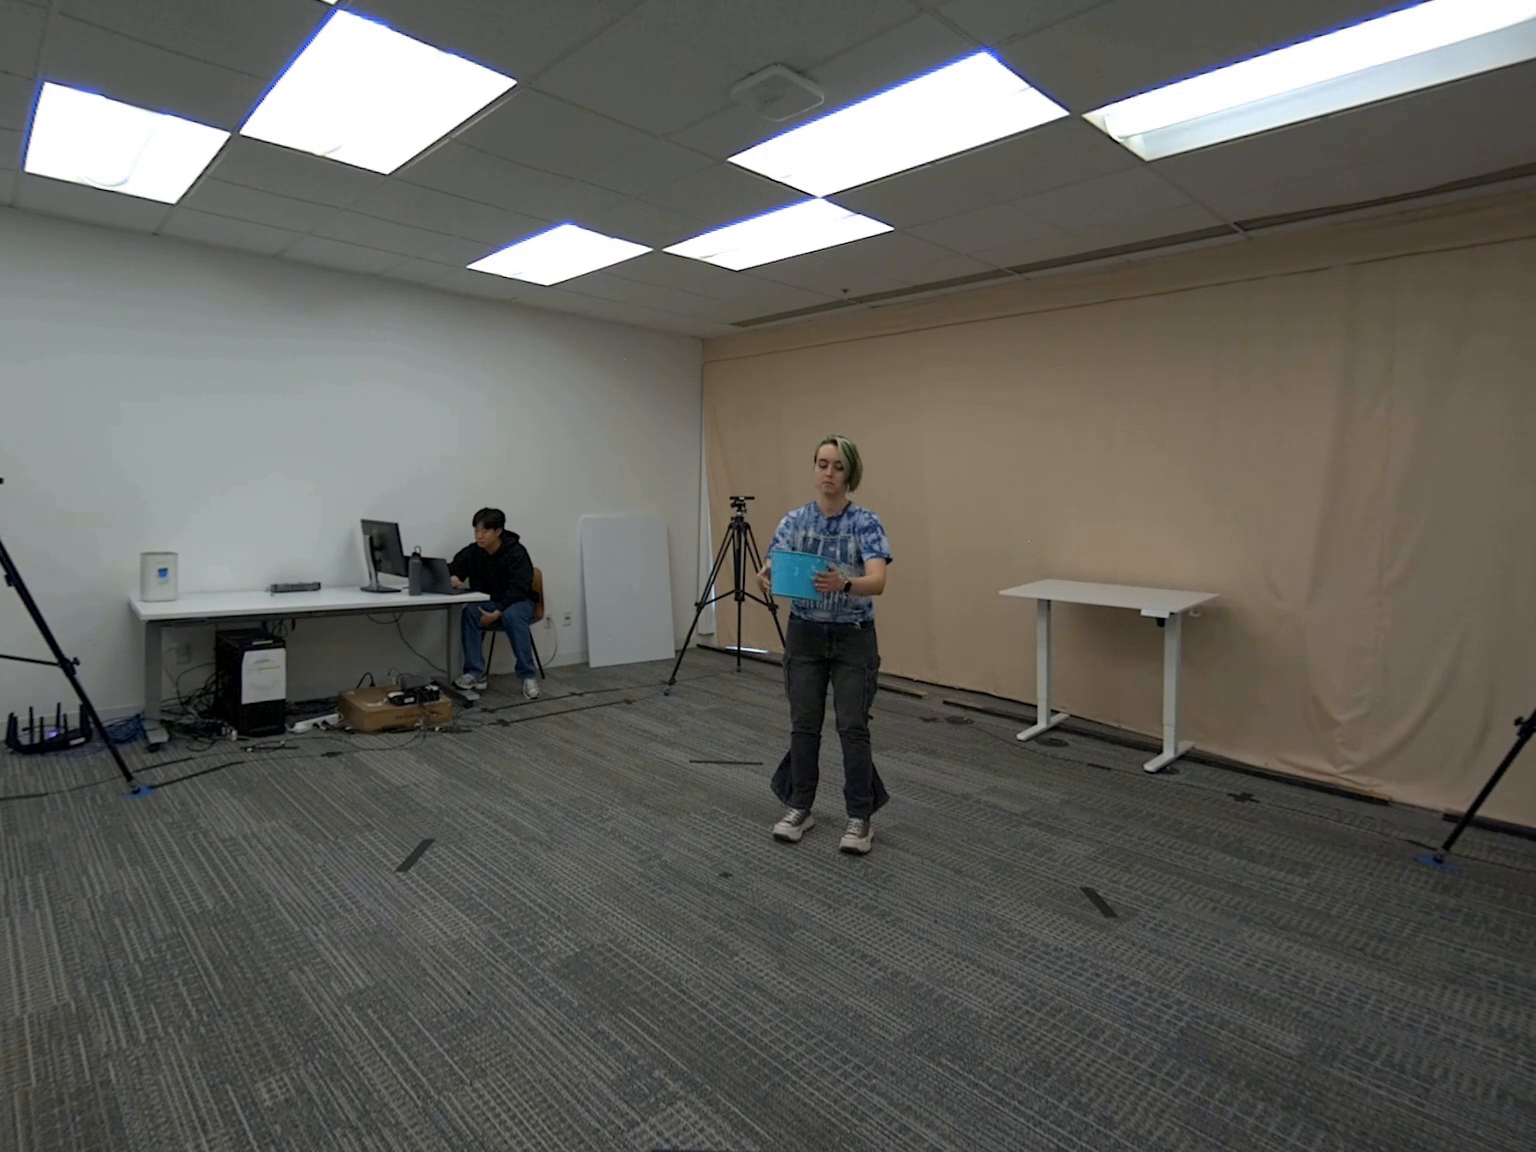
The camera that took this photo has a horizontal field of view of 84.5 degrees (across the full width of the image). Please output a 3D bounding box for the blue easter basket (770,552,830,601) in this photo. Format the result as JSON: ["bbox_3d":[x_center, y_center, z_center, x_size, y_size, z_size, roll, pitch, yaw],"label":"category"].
[{"bbox_3d":[0.106,0.009,3.029,0.243,0.156,0.243,5,-3,-1],"label":"blue easter basket"}]
